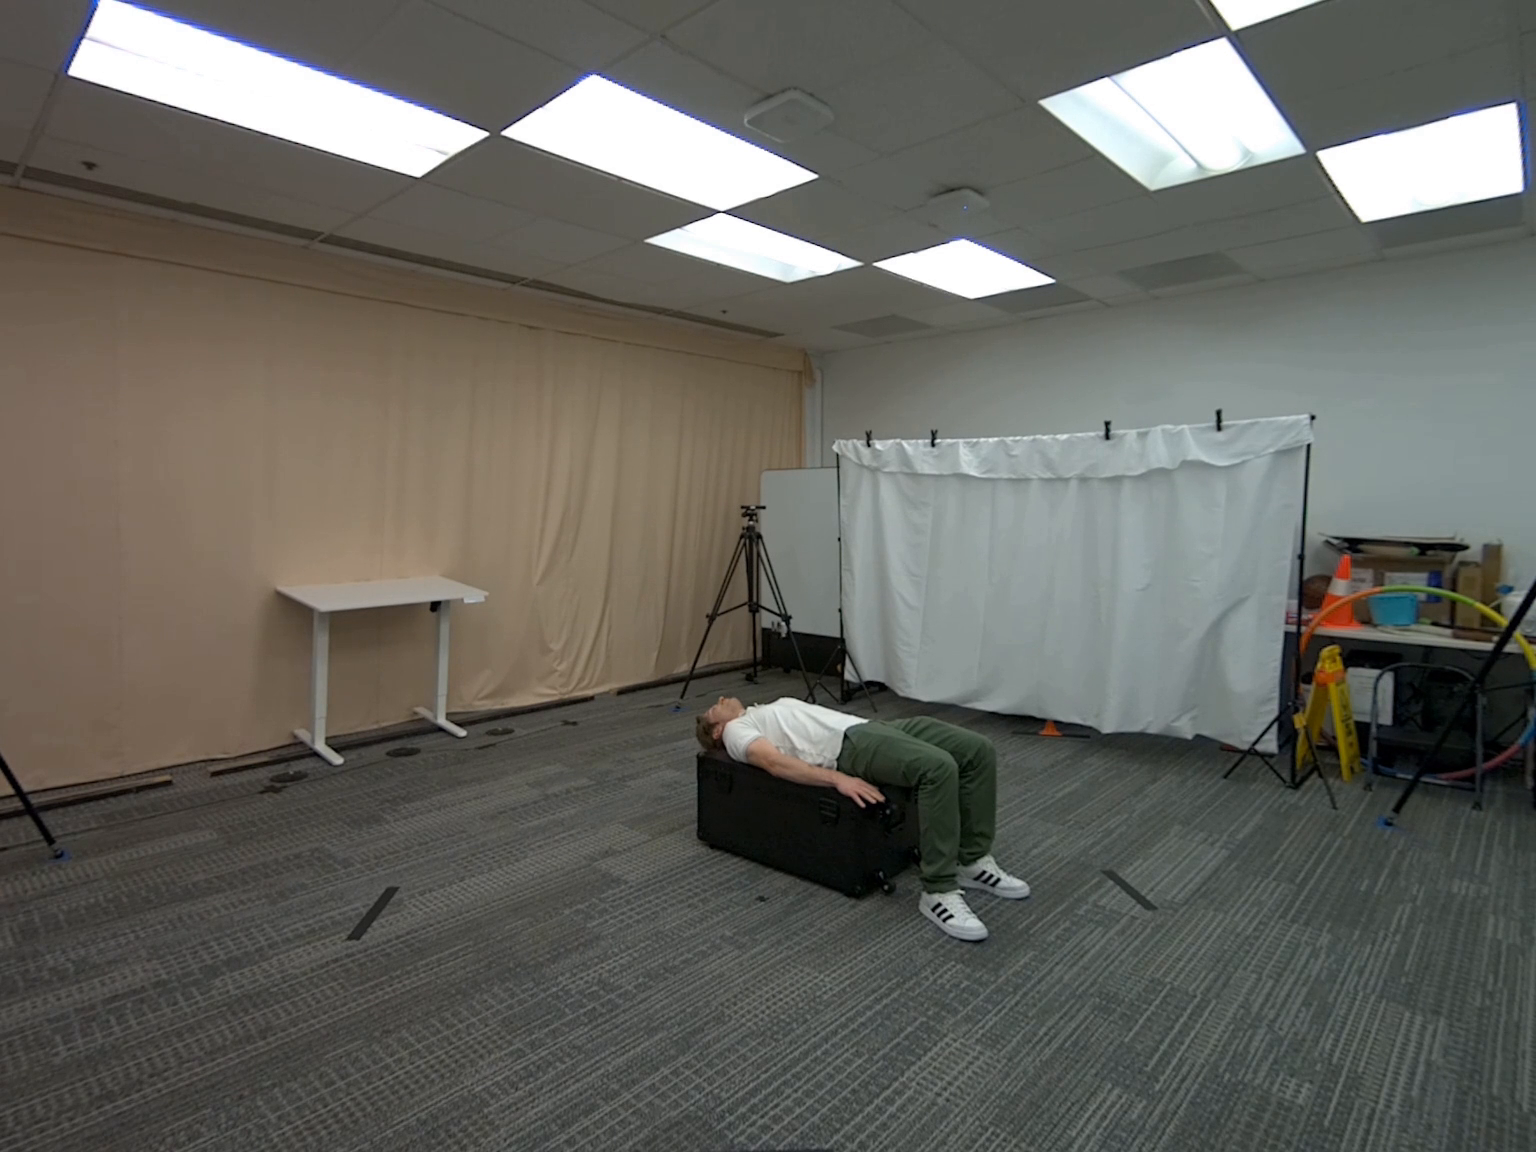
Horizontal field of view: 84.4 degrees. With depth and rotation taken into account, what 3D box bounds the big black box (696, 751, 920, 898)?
[{"bbox_3d":[0.191,0.925,3.347,0.897,0.384,0.507,5,5,39],"label":"big black box"}]
